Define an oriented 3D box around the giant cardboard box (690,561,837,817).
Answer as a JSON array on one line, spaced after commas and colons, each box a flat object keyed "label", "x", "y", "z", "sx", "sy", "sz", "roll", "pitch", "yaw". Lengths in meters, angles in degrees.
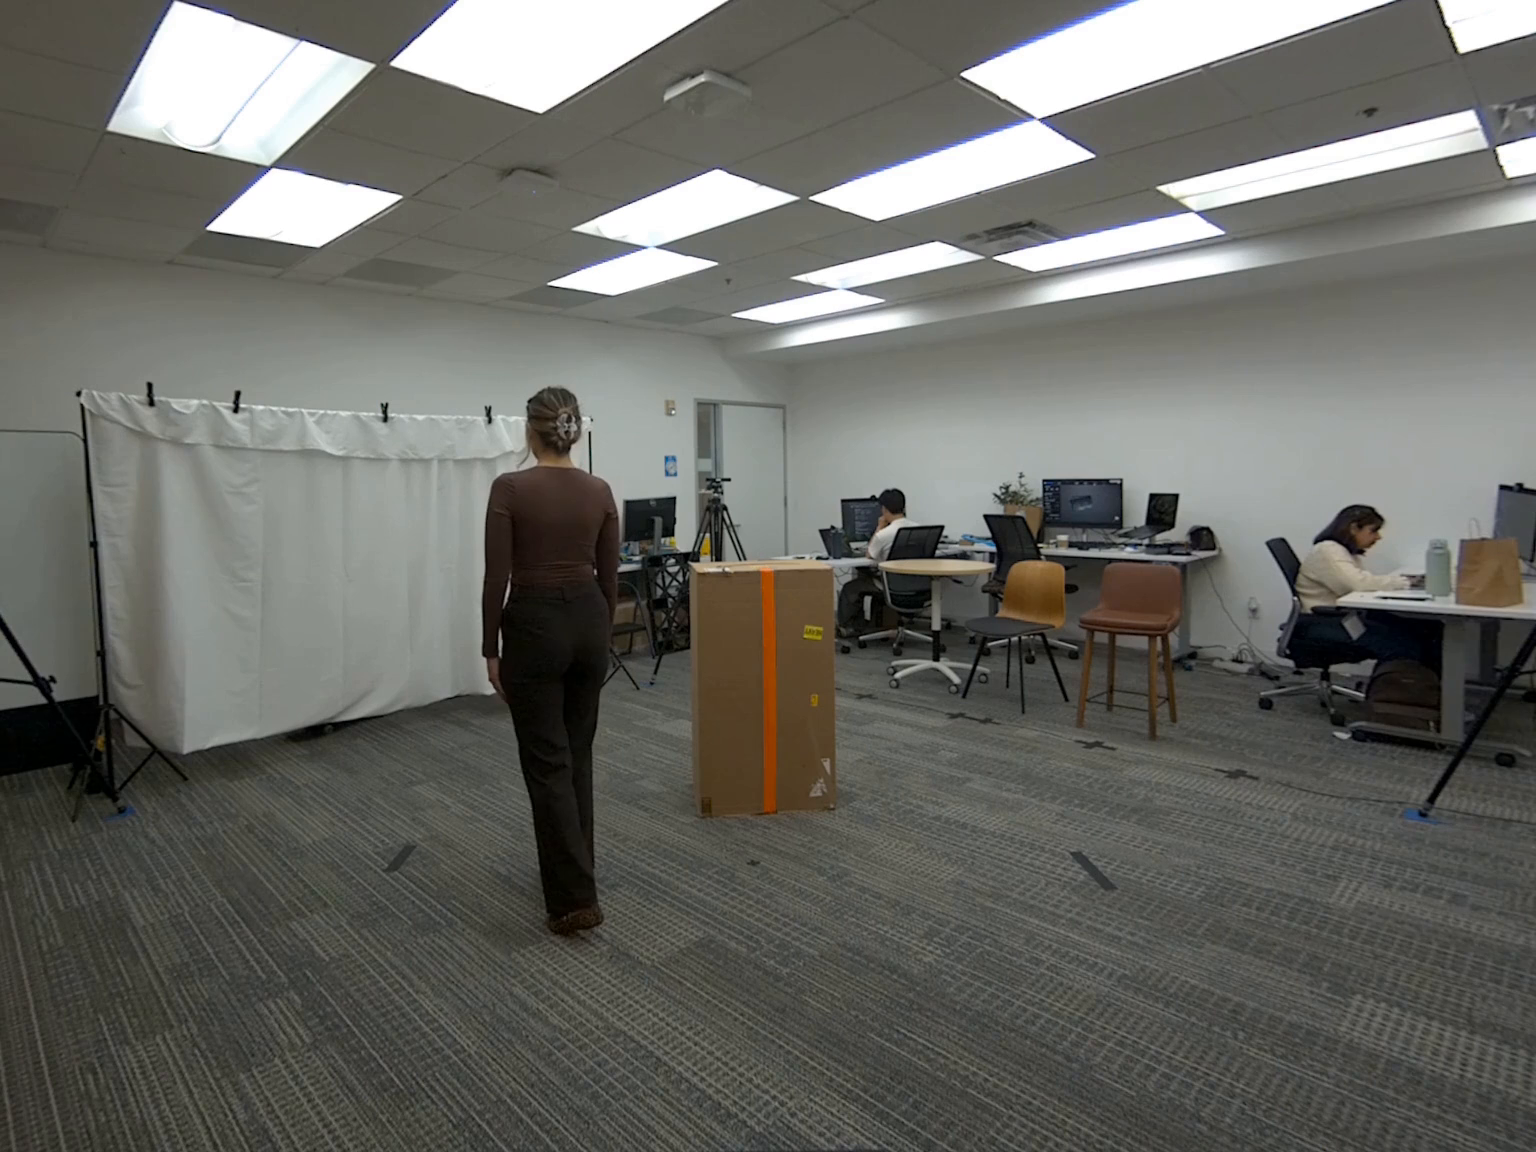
[{"label": "giant cardboard box", "x": -0.032, "y": 0.460, "z": 3.742, "sx": 0.579, "sy": 1.024, "sz": 0.452, "roll": -2, "pitch": 3, "yaw": -9}]
